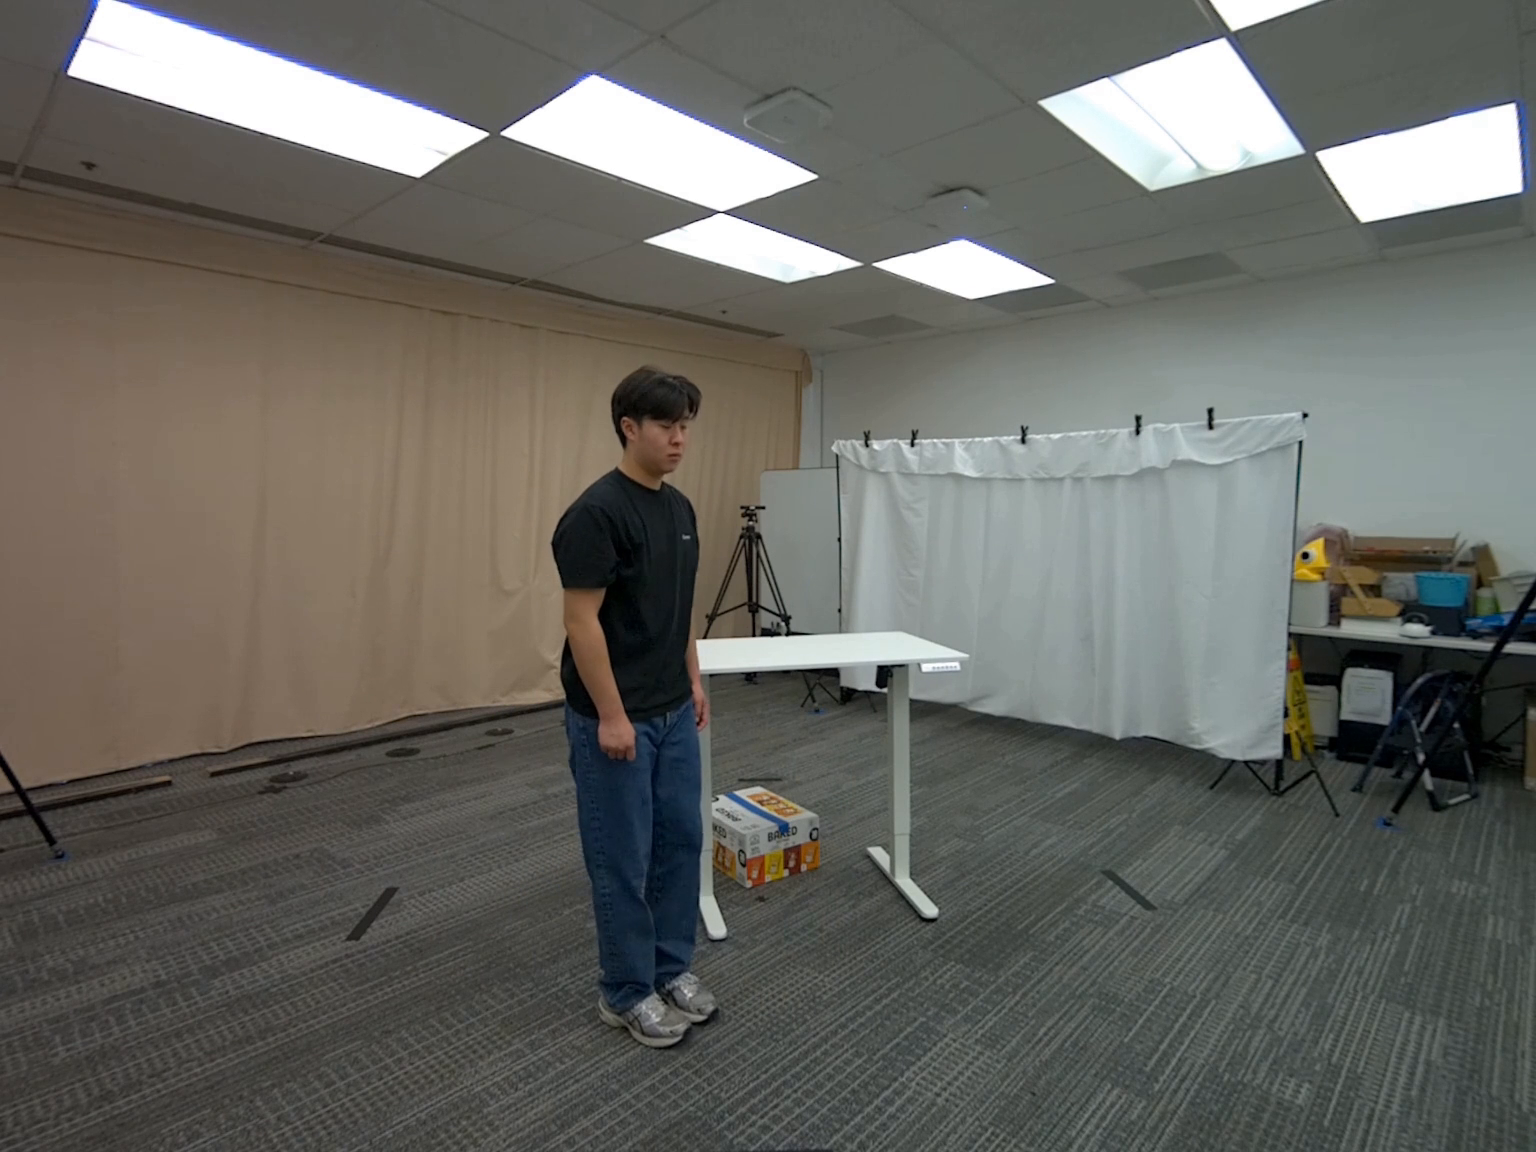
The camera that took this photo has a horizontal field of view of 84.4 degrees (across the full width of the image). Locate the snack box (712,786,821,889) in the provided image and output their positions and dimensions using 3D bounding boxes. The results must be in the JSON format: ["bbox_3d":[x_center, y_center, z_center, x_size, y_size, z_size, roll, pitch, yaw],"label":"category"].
[{"bbox_3d":[-0.057,1.015,3.313,0.331,0.205,0.418,-3,6,-33],"label":"snack box"}]
